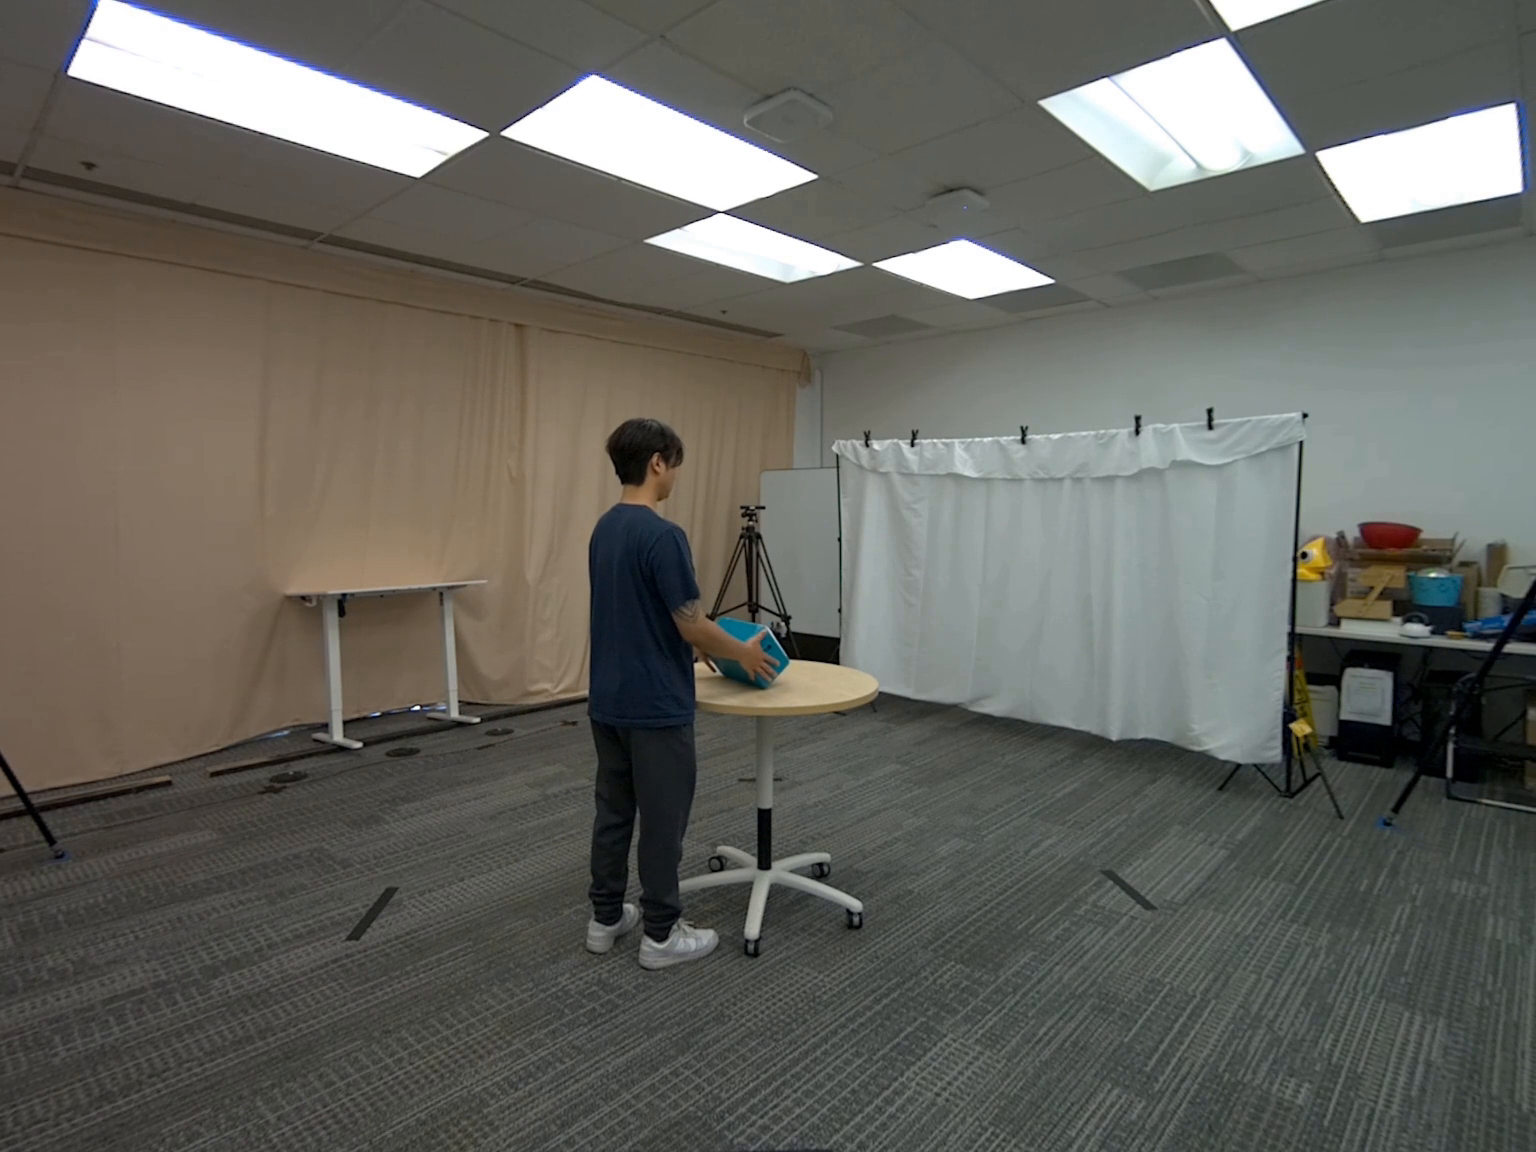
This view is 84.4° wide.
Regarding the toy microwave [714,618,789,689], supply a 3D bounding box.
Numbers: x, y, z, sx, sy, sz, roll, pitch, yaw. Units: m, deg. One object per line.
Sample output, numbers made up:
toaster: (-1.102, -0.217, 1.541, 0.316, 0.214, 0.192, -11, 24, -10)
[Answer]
toy microwave: (-0.074, 0.251, 2.825, 0.151, 0.180, 0.295, -43, 24, -22)
